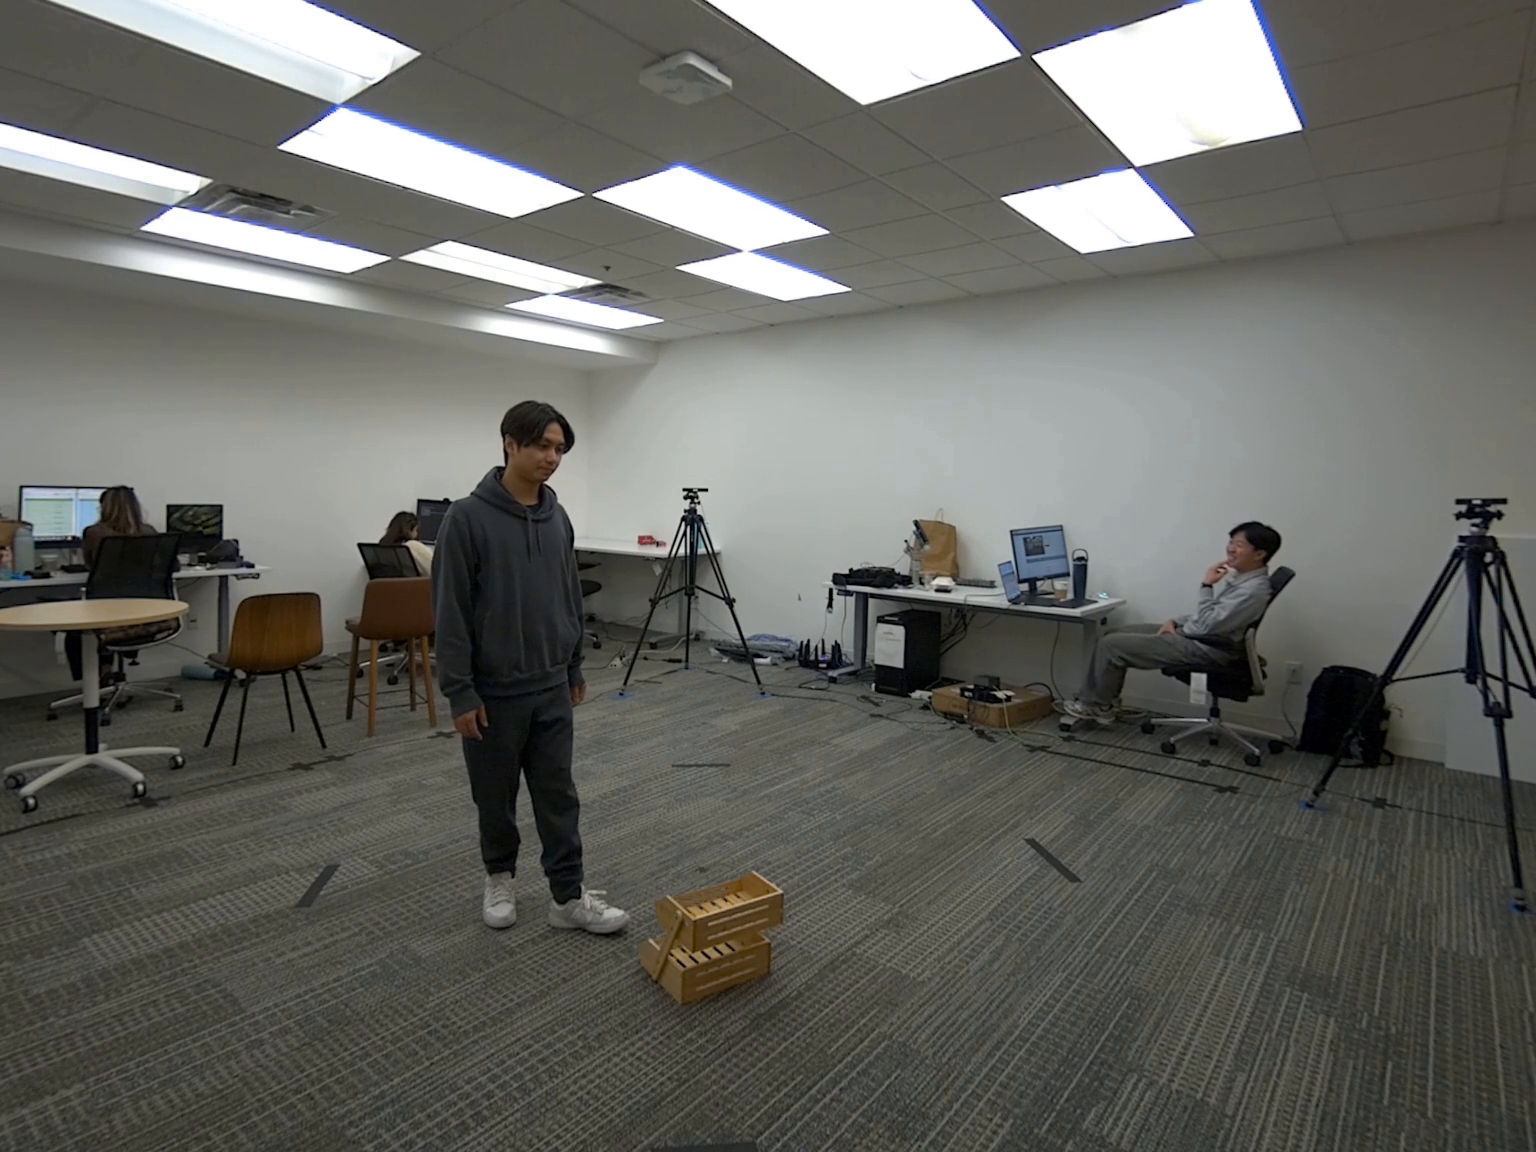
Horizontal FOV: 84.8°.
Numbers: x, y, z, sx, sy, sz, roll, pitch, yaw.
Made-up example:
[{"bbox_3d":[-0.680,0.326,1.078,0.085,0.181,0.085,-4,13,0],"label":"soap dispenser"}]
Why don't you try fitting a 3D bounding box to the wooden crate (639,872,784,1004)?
[{"bbox_3d":[-0.177,1.001,2.440,0.315,0.272,0.312,-2,6,-35],"label":"wooden crate"}]
